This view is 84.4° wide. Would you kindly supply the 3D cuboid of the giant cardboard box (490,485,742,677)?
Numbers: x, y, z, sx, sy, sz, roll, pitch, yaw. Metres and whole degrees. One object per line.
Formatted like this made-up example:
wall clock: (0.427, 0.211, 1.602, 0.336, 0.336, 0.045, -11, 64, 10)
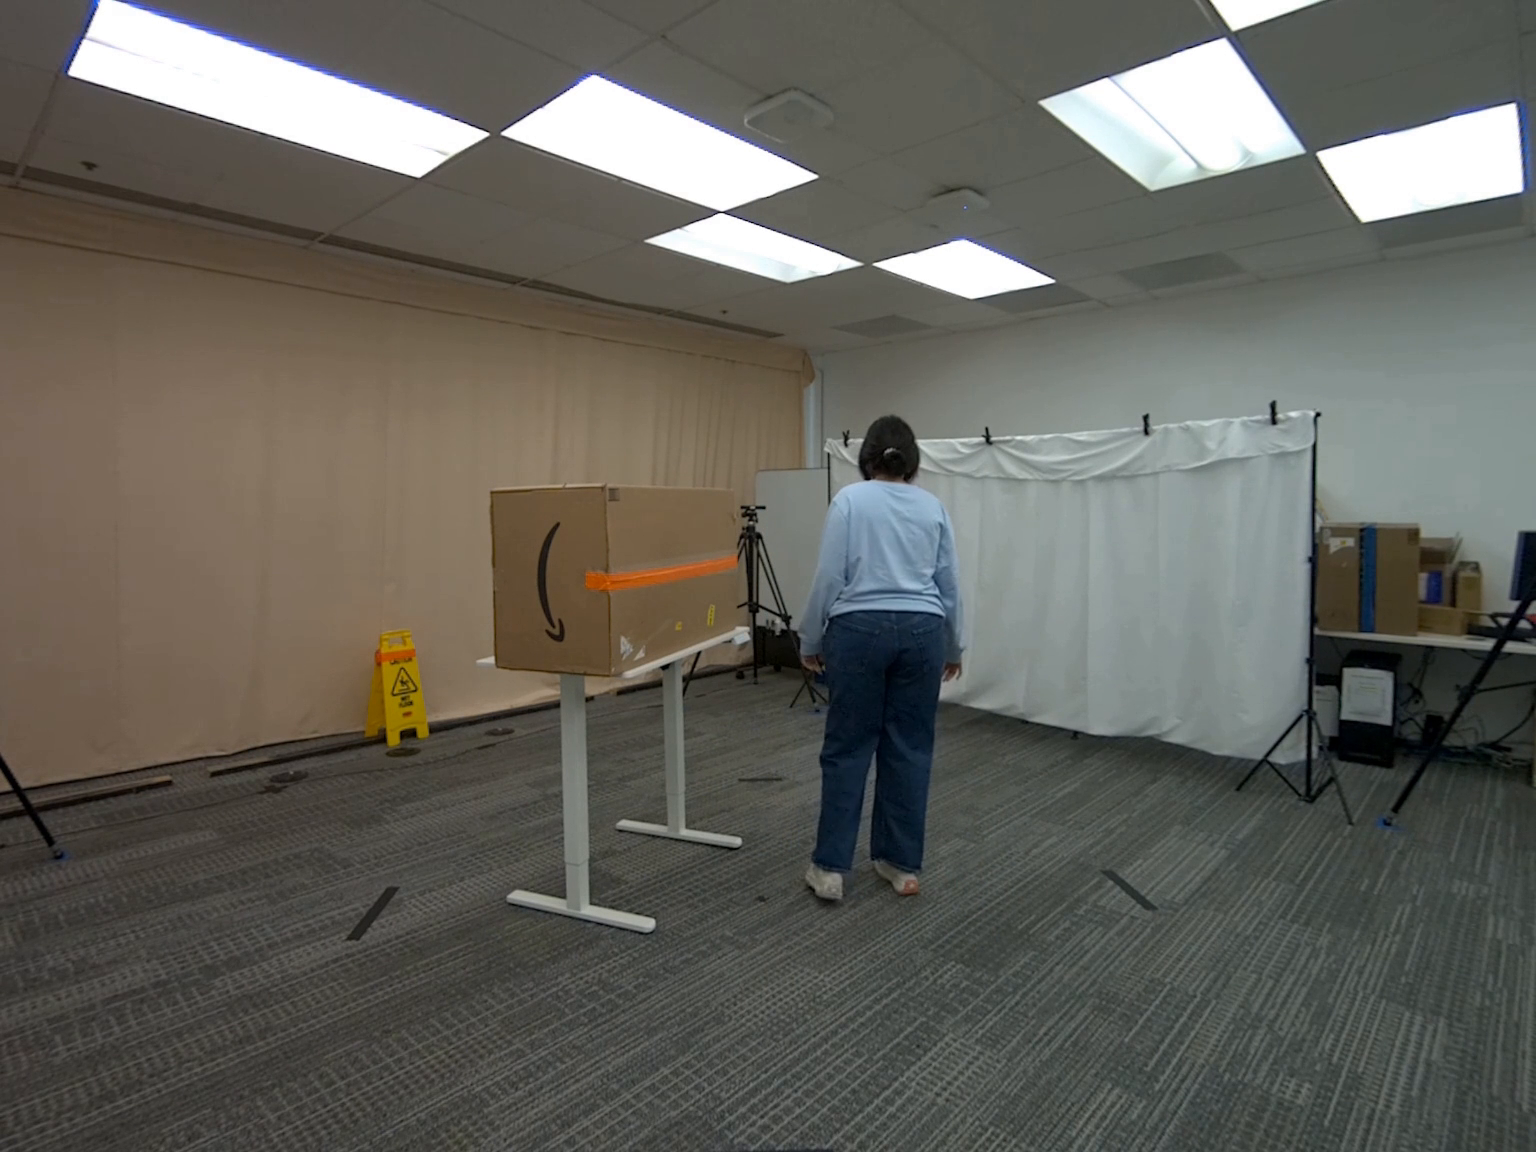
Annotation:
giant cardboard box: (-0.498, -0.026, 3.052, 0.436, 0.576, 1.006, 1, 4, 20)
